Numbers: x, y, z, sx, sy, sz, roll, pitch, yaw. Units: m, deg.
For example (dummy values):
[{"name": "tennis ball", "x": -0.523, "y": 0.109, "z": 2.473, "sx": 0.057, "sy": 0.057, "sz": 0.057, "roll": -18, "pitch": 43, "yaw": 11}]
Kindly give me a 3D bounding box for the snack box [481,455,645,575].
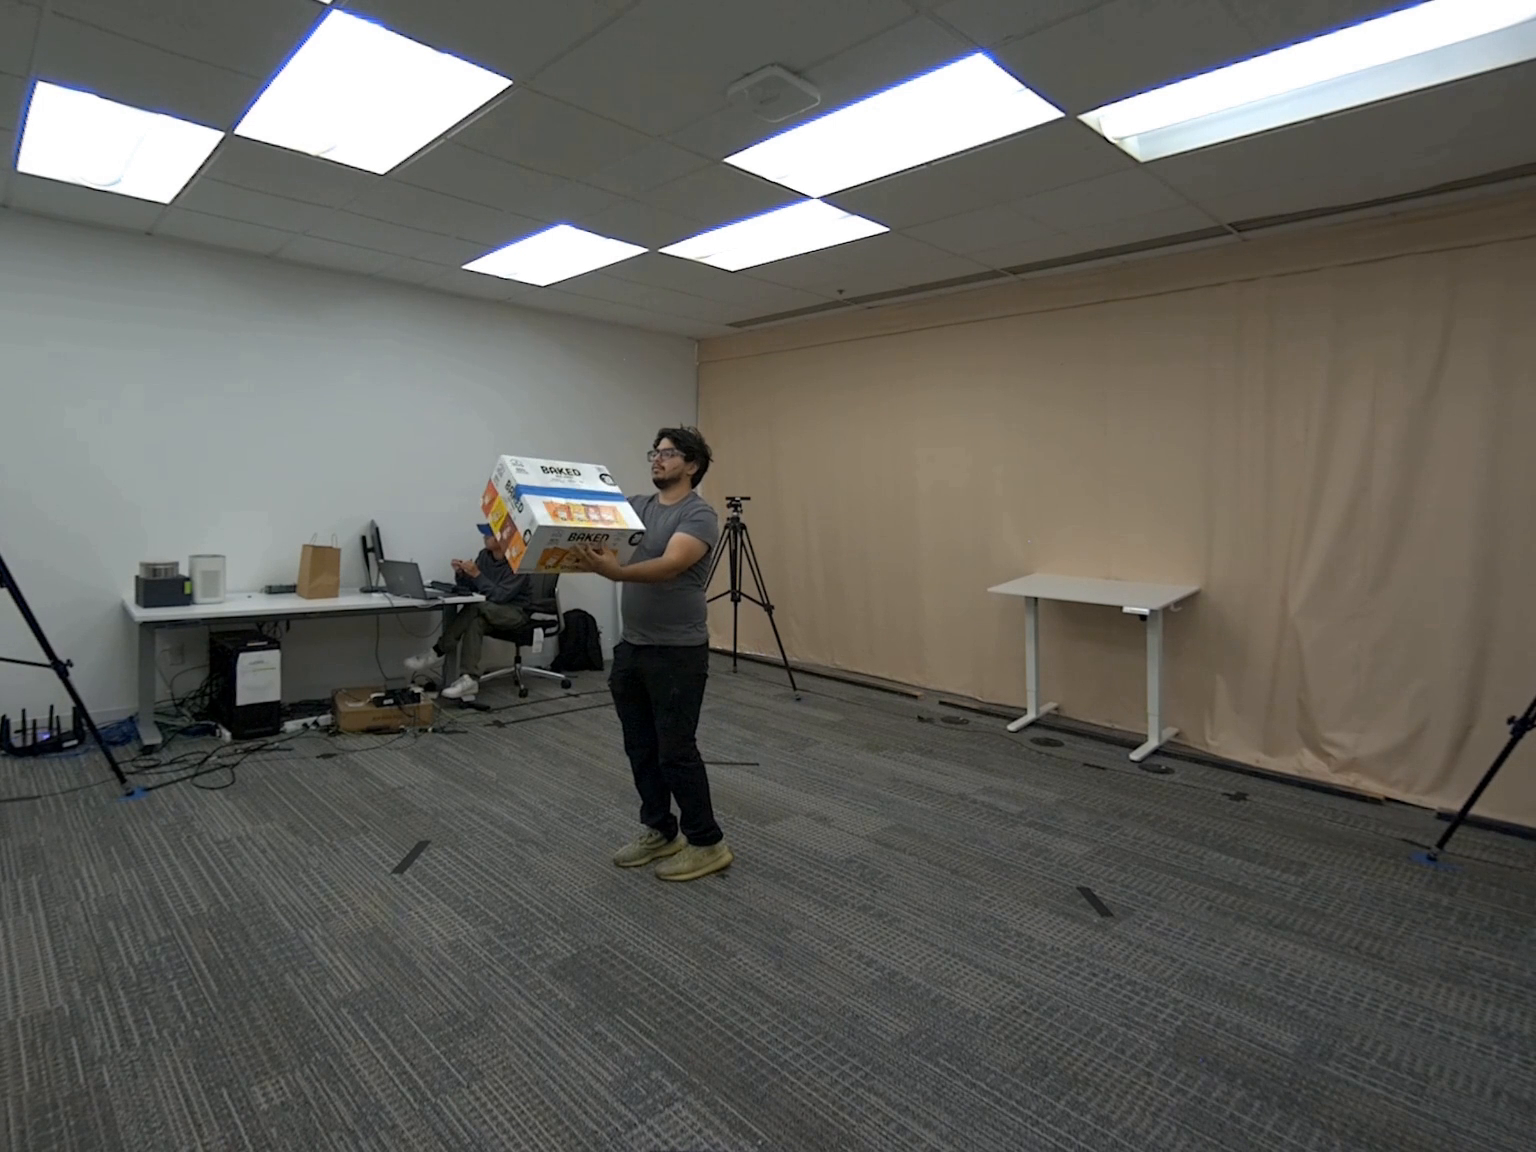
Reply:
[{"name": "snack box", "x": -0.684, "y": -0.195, "z": 2.757, "sx": 0.395, "sy": 0.205, "sz": 0.350, "roll": 1, "pitch": 43, "yaw": -44}]
